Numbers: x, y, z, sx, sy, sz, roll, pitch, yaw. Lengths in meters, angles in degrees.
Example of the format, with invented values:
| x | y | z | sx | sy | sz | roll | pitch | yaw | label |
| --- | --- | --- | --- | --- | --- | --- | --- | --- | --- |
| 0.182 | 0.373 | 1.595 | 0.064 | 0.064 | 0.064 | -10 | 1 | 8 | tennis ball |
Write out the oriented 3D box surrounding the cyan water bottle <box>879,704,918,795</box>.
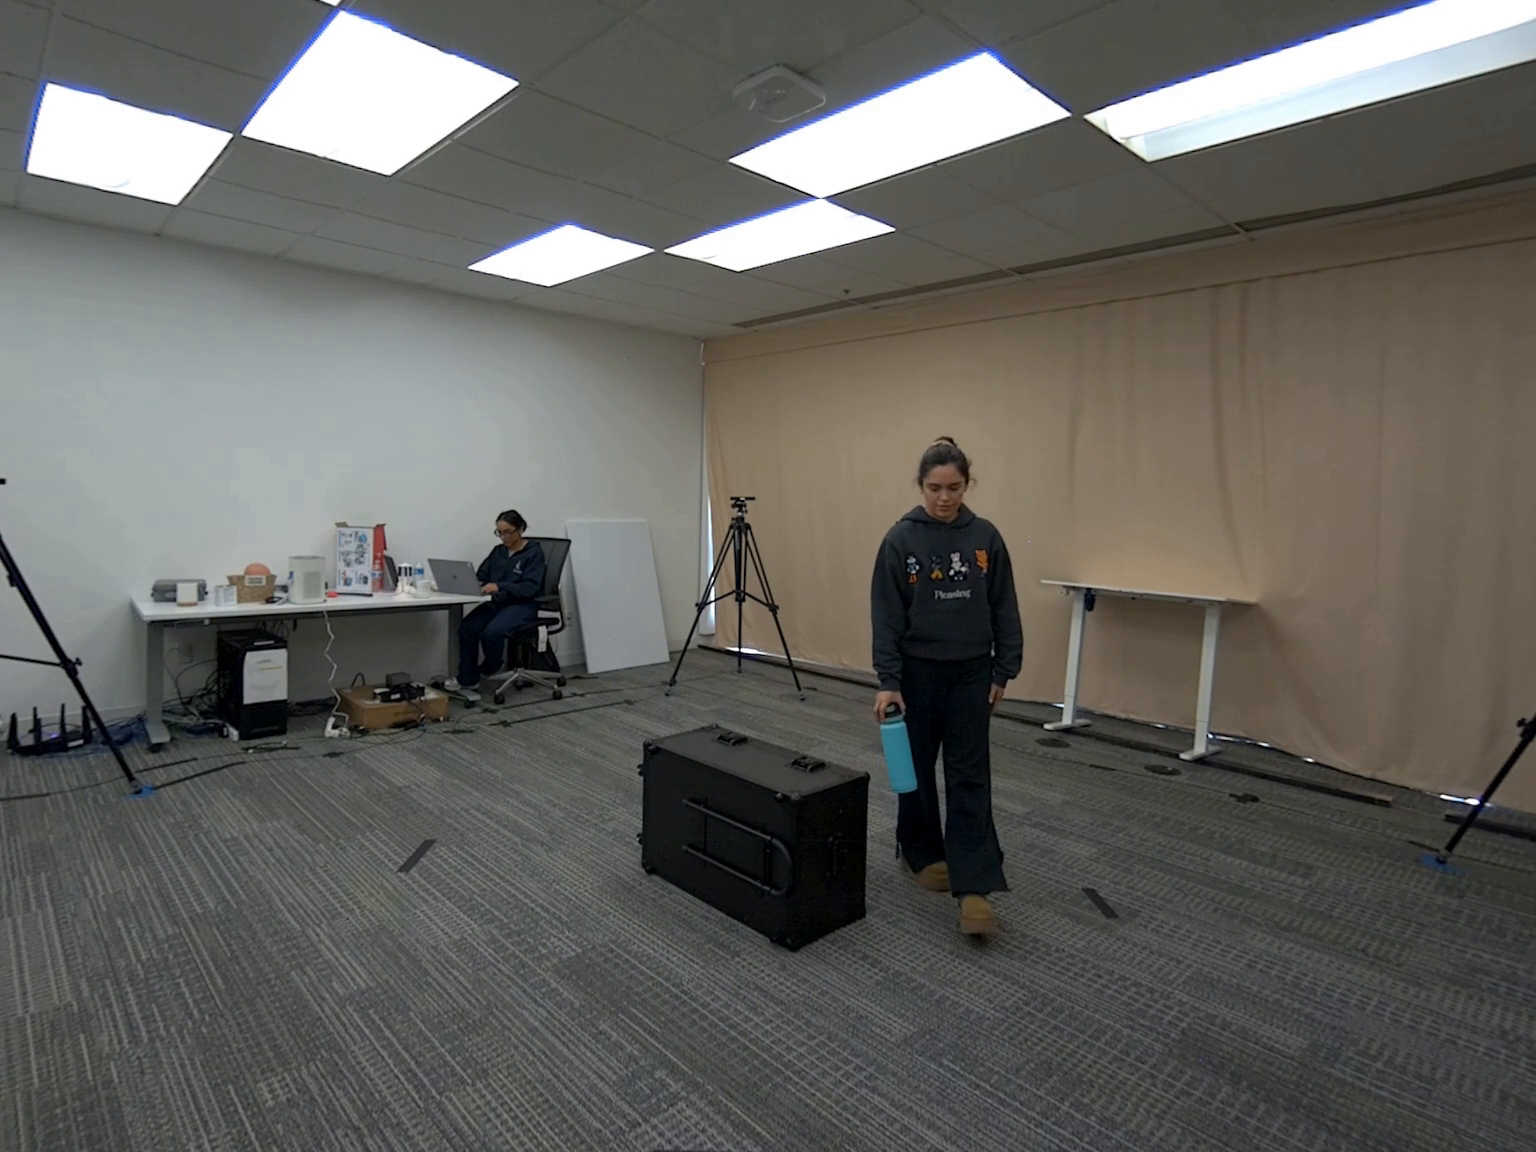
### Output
| x | y | z | sx | sy | sz | roll | pitch | yaw | label |
| --- | --- | --- | --- | --- | --- | --- | --- | --- | --- |
| 0.427 | 0.574 | 2.842 | 0.092 | 0.284 | 0.092 | -8 | -2 | -2 | cyan water bottle |
